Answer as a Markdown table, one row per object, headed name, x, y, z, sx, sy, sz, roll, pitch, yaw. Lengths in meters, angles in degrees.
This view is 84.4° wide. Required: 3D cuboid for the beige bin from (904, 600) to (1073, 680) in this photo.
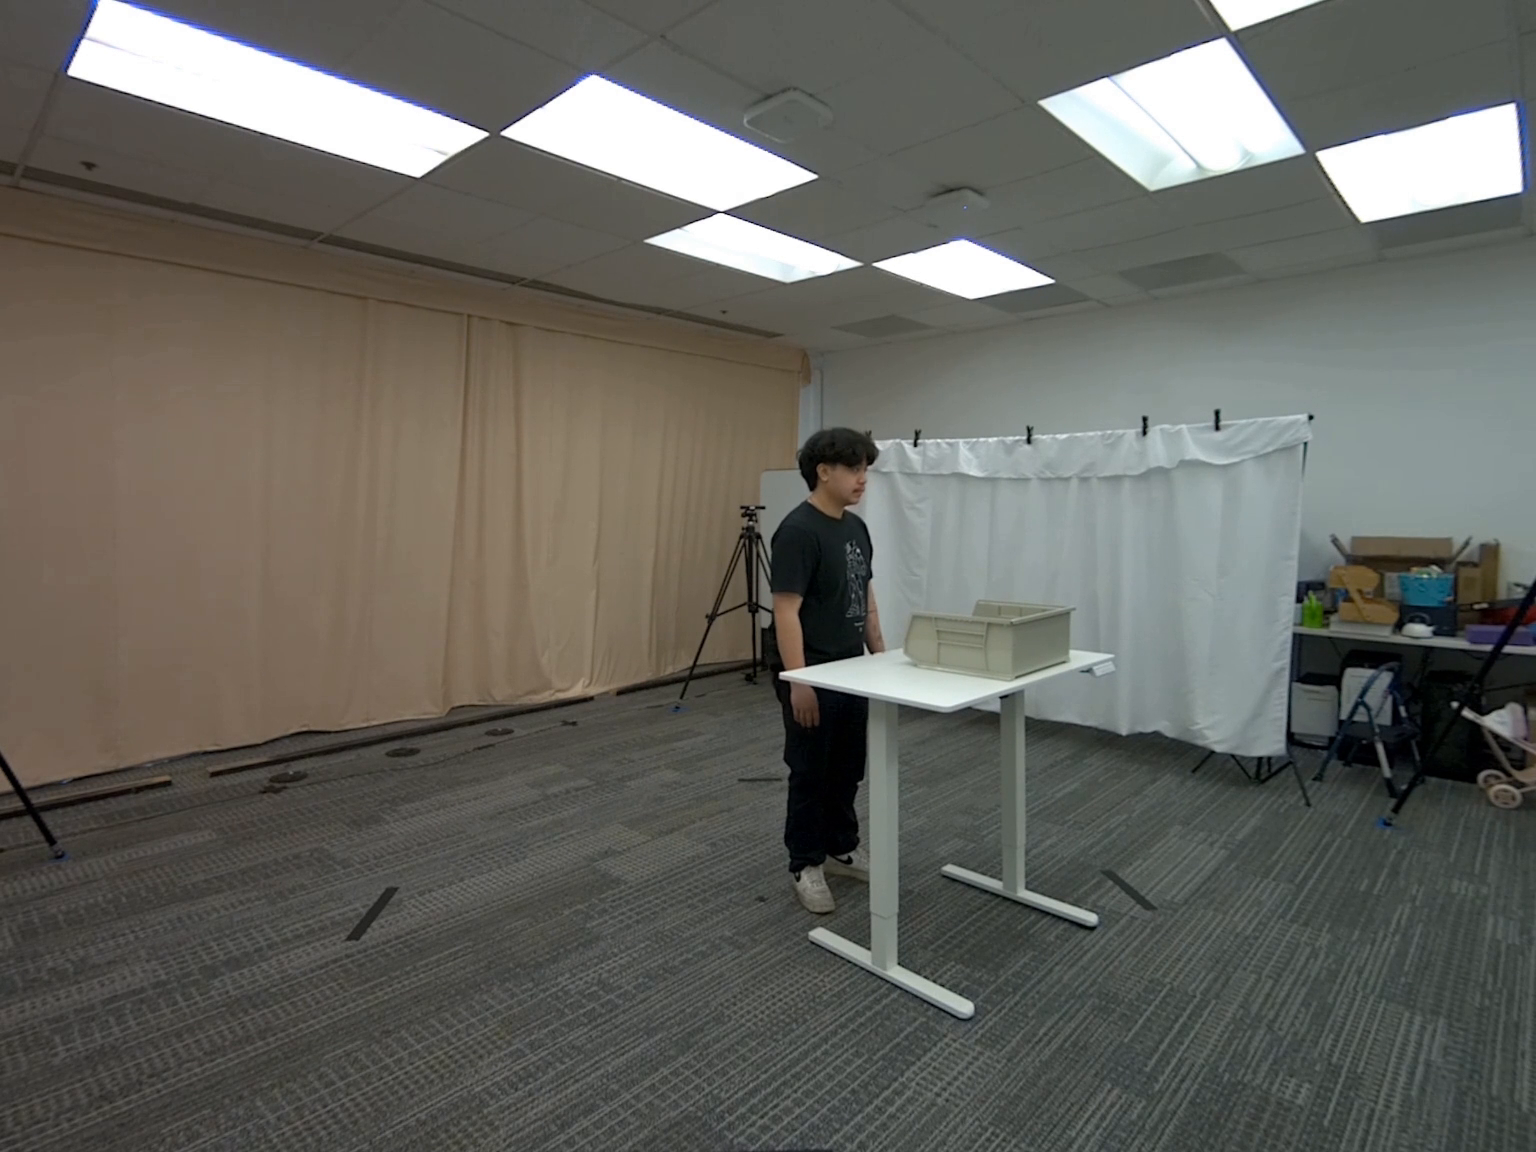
| name | x | y | z | sx | sy | sz | roll | pitch | yaw |
| --- | --- | --- | --- | --- | --- | --- | --- | --- | --- |
| beige bin | 0.708 | 0.197 | 2.685 | 0.390 | 0.188 | 0.409 | 5 | 7 | 45 |
